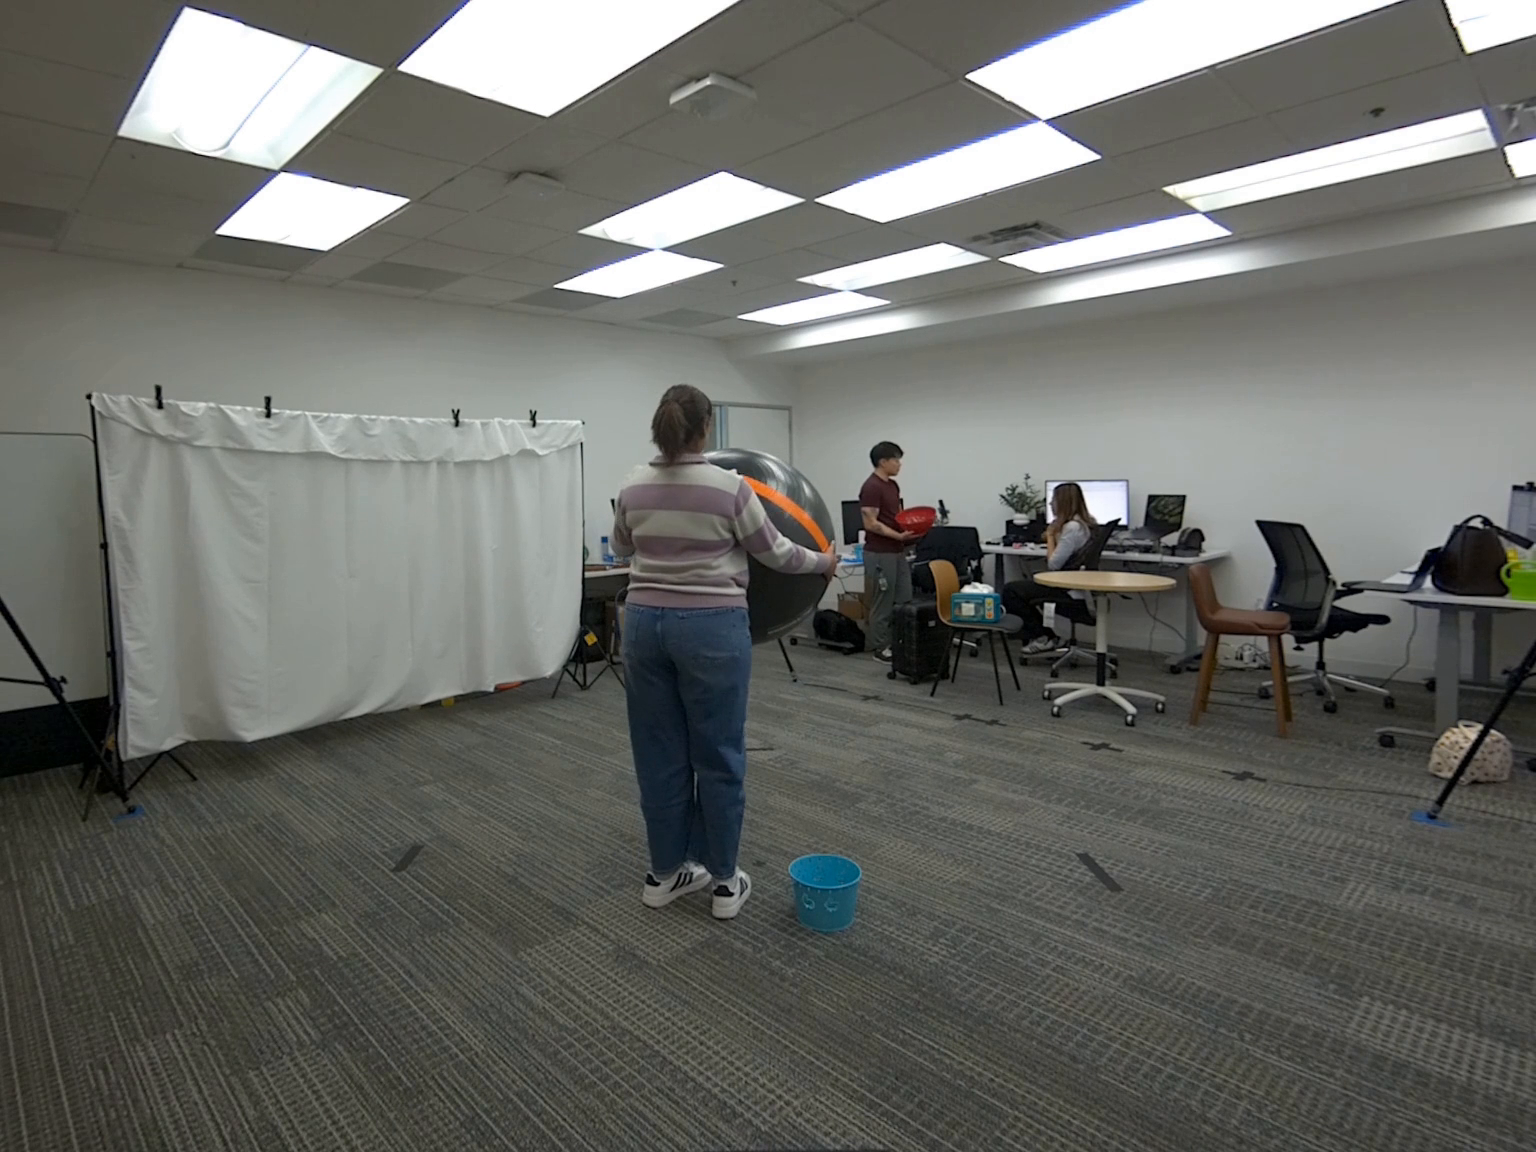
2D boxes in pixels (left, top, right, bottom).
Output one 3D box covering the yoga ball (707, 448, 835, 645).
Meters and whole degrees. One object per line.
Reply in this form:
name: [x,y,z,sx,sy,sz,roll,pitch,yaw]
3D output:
yoga ball: [-0.123,-0.109,3.276,0.757,0.755,0.762,-1,5,-2]
